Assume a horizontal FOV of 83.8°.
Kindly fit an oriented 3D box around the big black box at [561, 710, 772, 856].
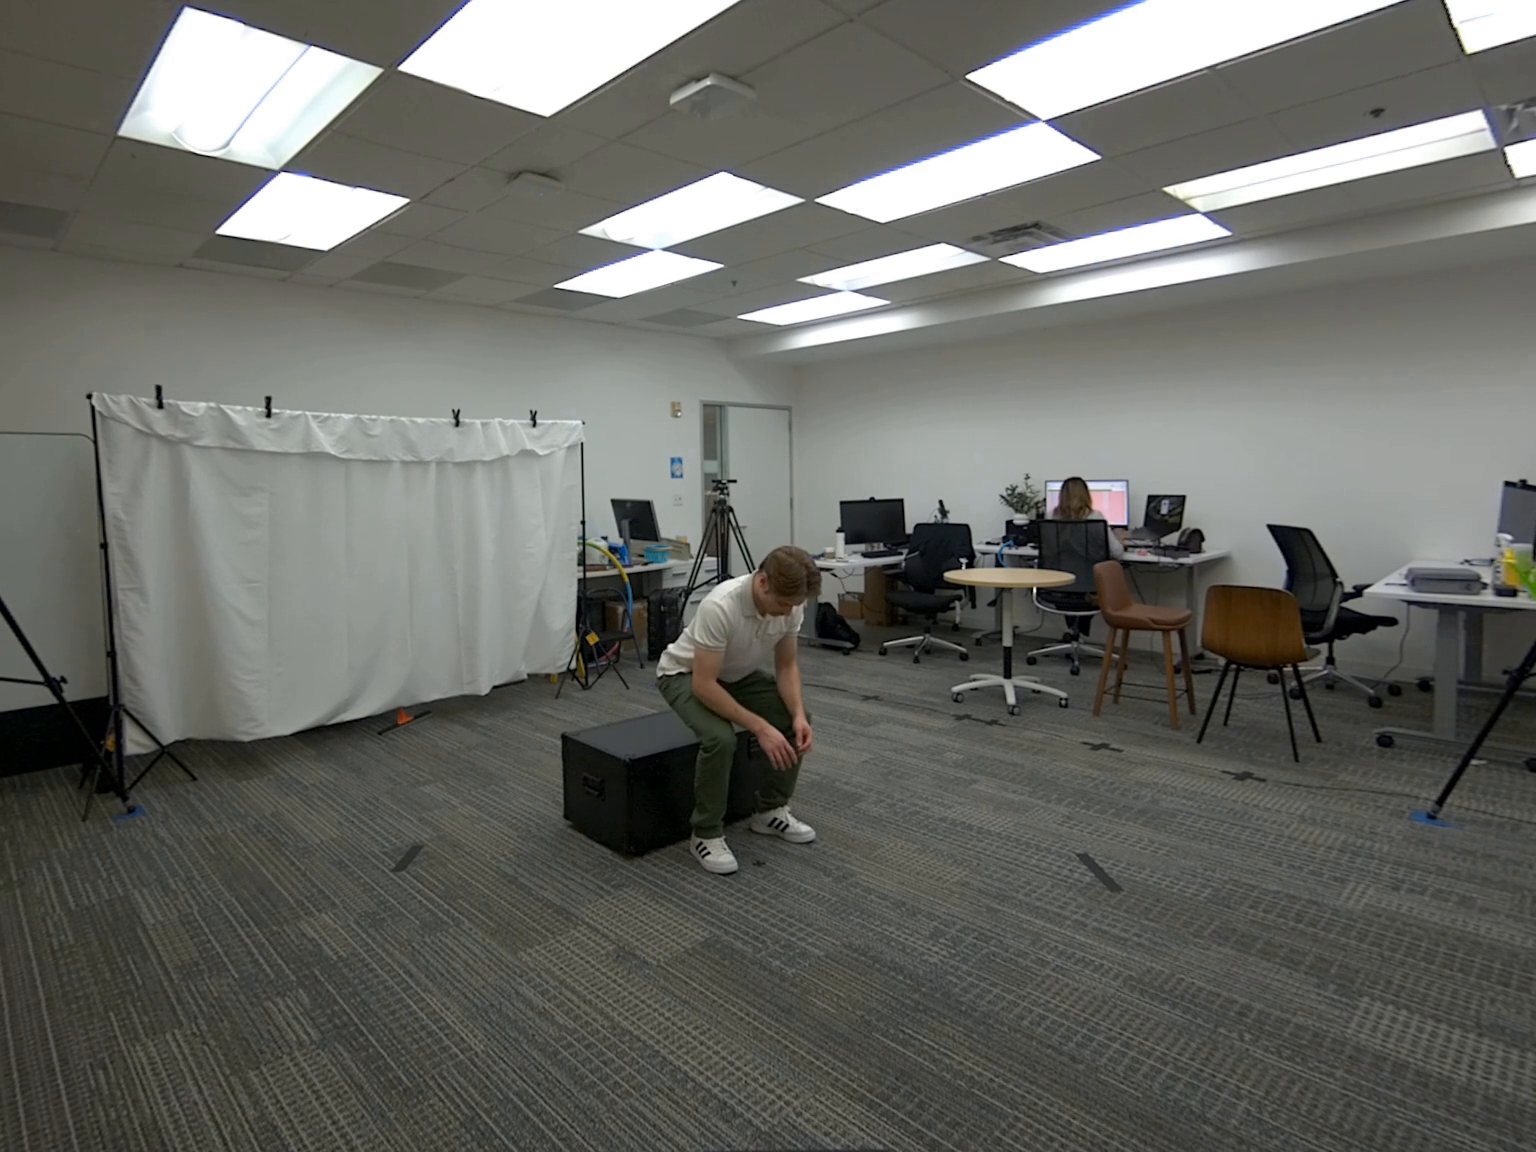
[{"bbox_3d":[-0.365,0.805,3.578,0.846,0.384,0.539,-7,6,-41],"label":"big black box"}]
